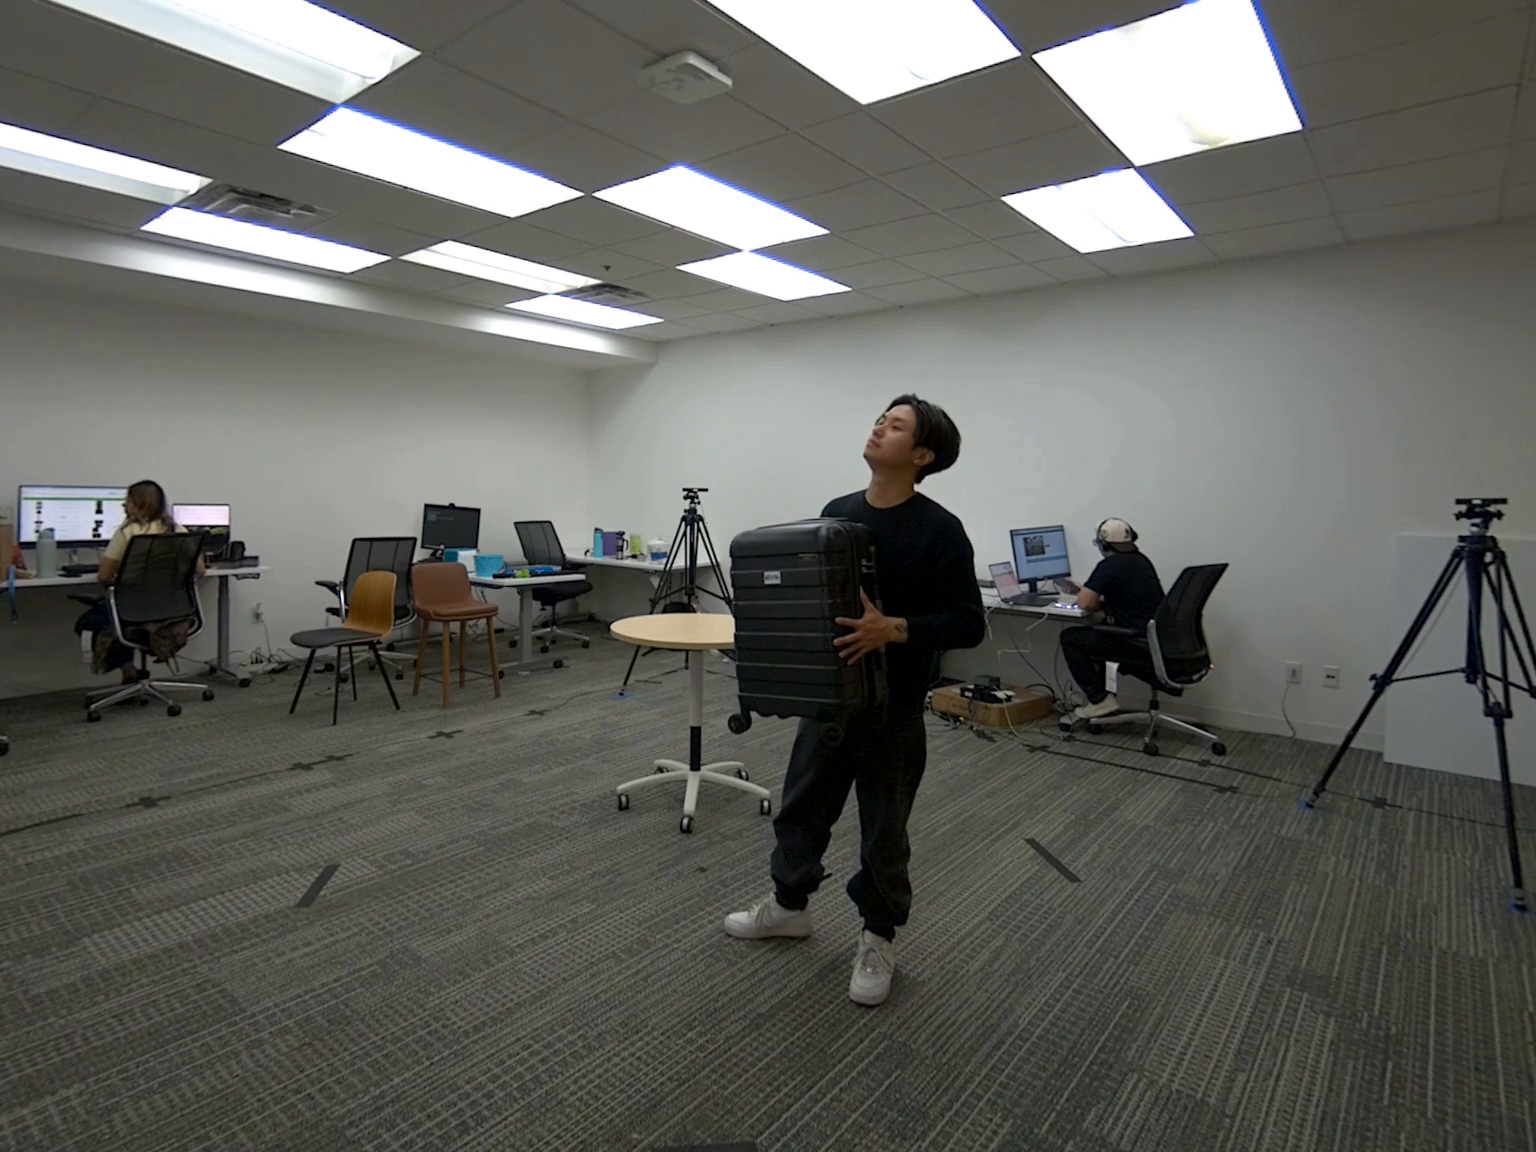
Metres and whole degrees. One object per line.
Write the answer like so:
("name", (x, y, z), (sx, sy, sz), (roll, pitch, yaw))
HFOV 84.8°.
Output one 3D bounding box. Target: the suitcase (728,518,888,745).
("suitcase", (0.095, 0.126, 2.247), (0.387, 0.549, 0.241), (-2, 1, 39))
